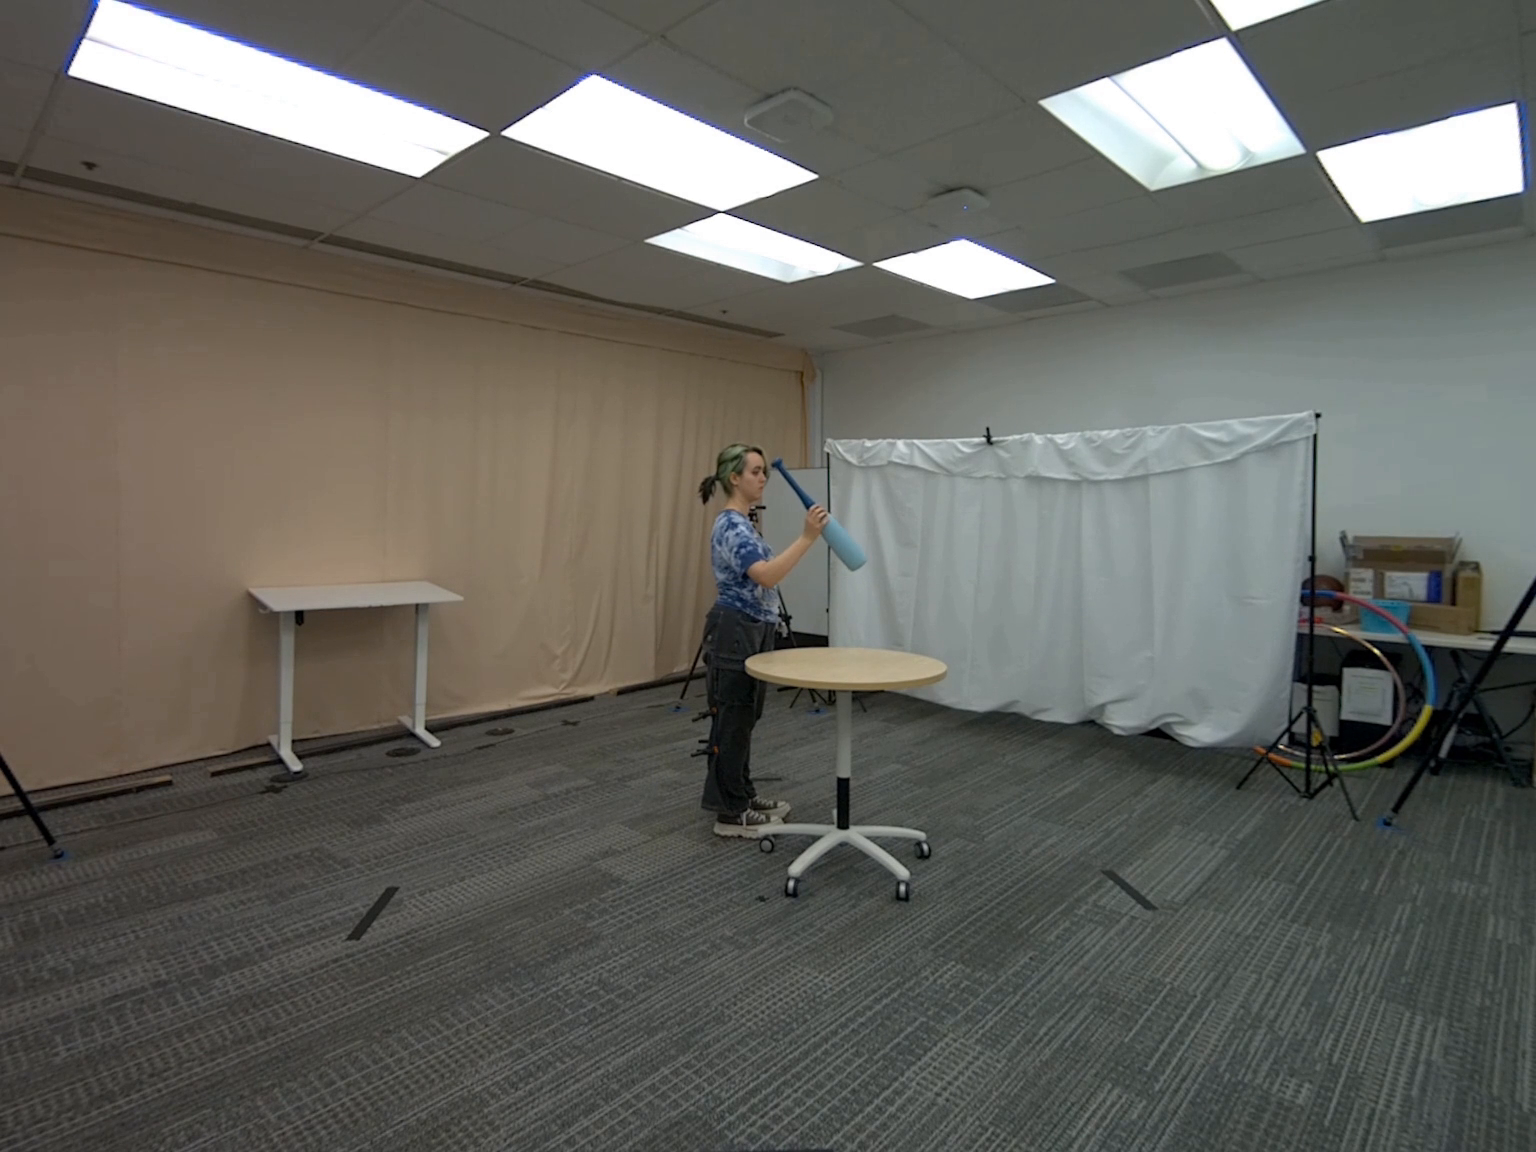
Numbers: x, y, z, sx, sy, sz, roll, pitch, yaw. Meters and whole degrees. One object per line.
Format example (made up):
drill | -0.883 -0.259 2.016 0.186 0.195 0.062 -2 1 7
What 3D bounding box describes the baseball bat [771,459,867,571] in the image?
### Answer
baseball bat | 0.194 -0.245 3.312 0.089 0.540 0.089 -40 4 2
